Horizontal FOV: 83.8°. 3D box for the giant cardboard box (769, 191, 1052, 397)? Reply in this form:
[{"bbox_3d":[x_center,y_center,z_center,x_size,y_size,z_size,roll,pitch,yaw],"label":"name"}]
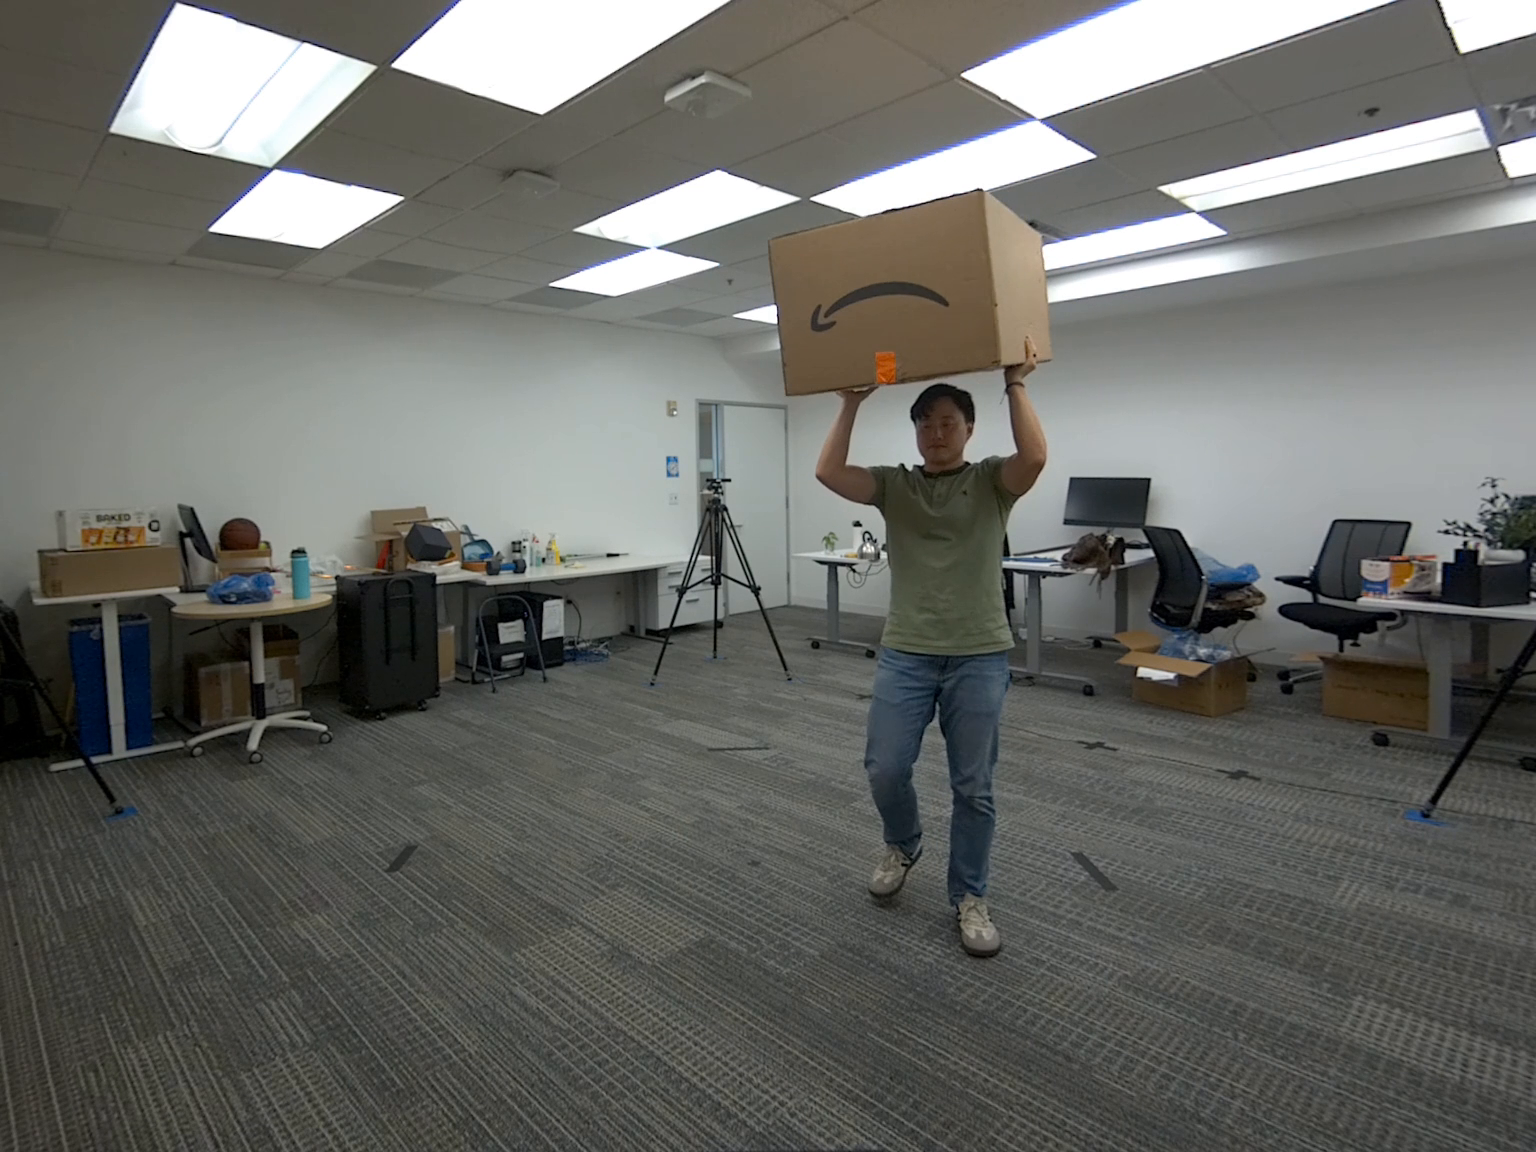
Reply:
[{"bbox_3d":[0.493,-0.818,2.629,0.591,0.422,1.013,-2,13,27],"label":"giant cardboard box"}]
